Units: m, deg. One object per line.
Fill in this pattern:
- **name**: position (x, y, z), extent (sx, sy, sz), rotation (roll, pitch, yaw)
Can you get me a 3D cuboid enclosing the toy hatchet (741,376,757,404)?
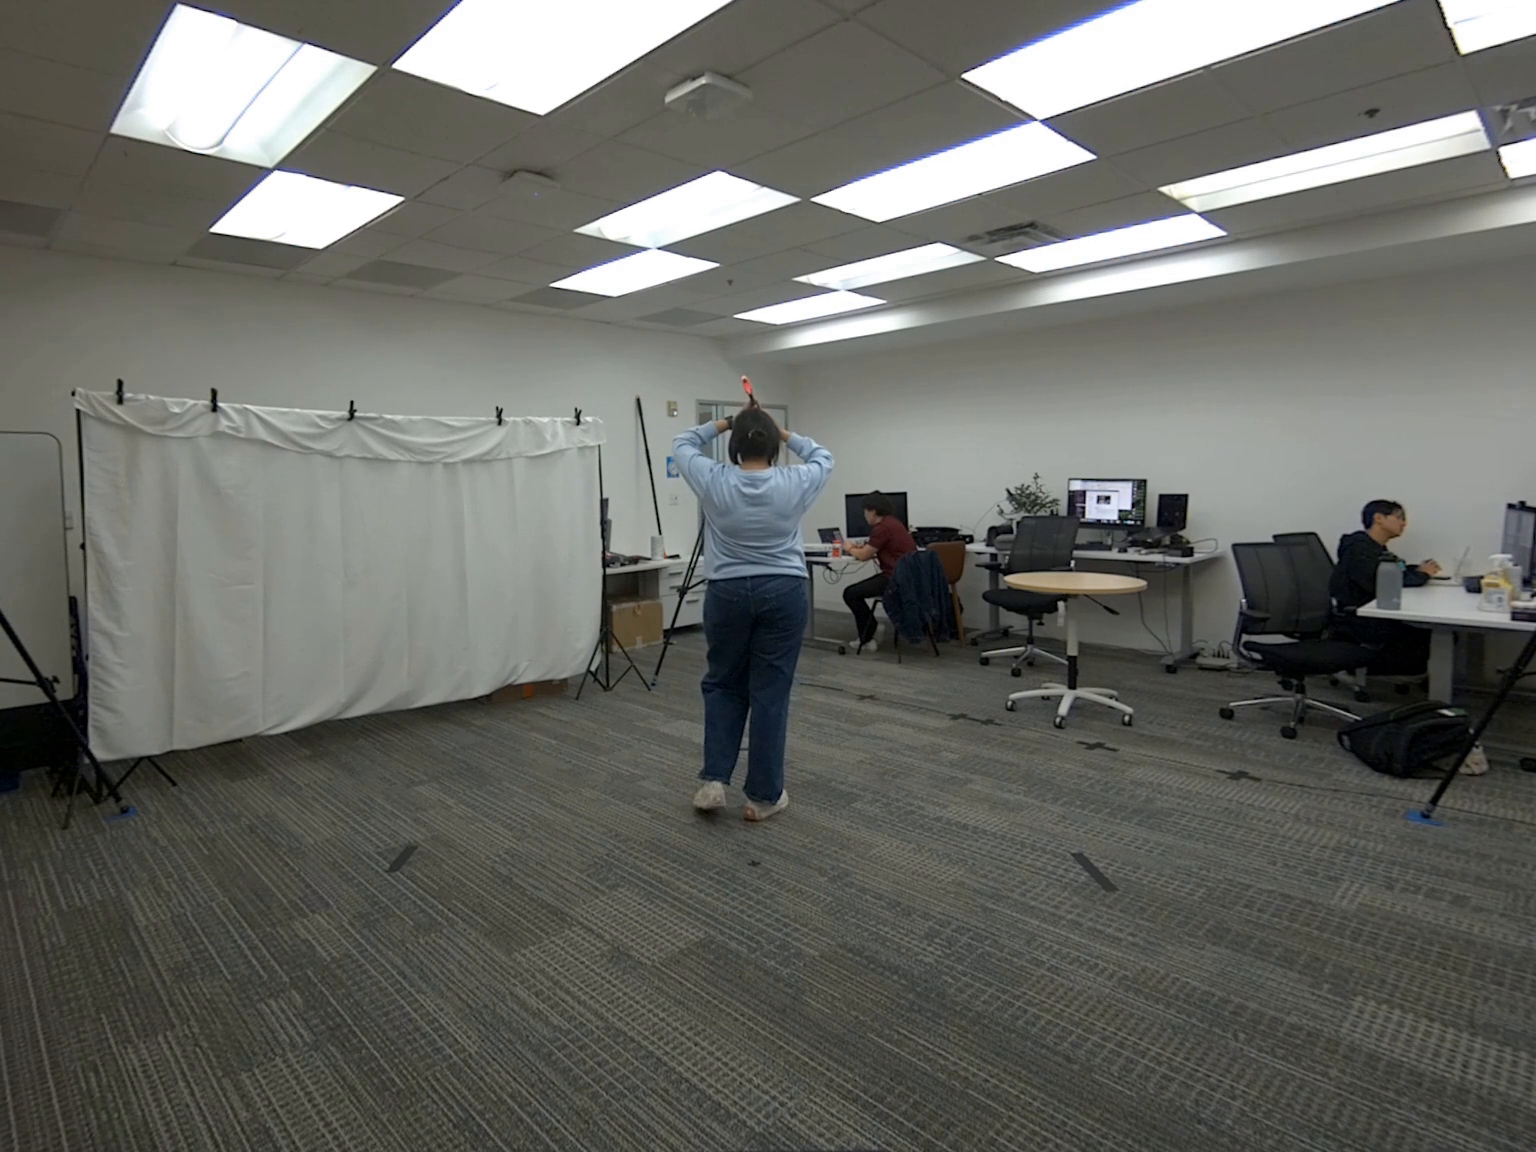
- **toy hatchet**: position (-0.066, -0.749, 3.603), extent (0.030, 0.135, 0.262), rotation (-19, -26, 5)
